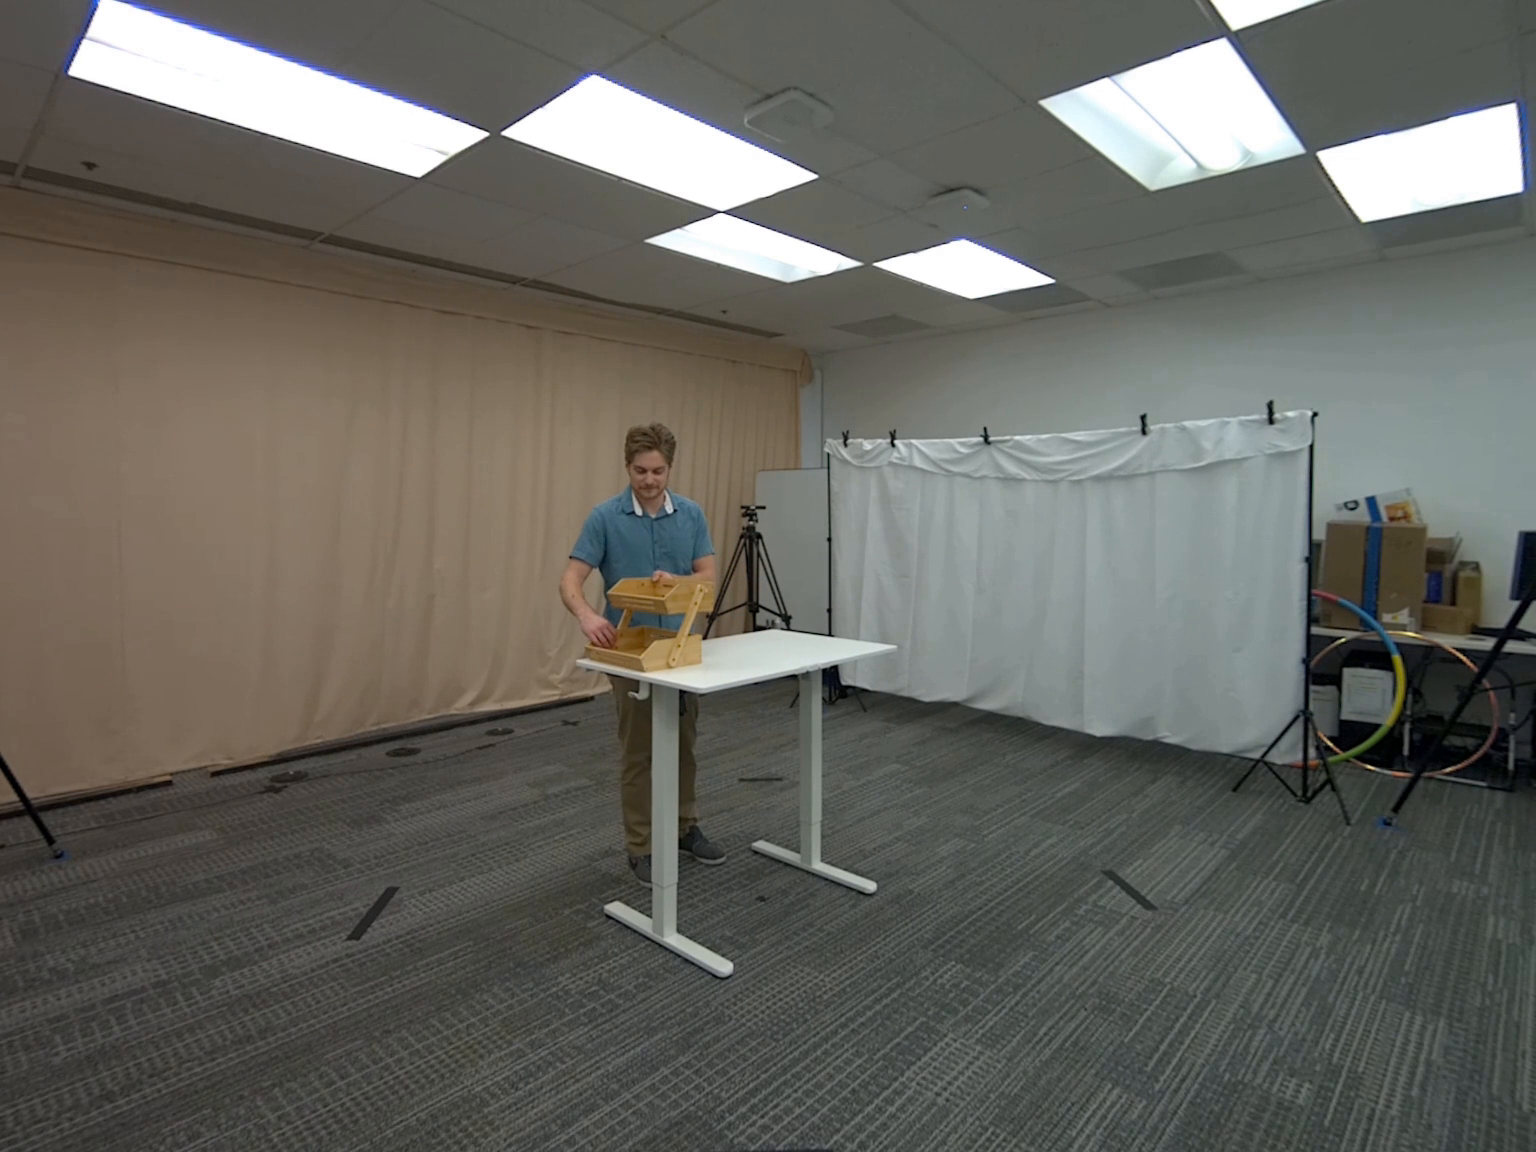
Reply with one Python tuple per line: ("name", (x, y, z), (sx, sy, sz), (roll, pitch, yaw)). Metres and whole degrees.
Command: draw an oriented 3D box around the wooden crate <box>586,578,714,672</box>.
("wooden crate", (-0.389, 0.145, 2.758), (0.335, 0.273, 0.292), (4, 5, 44))
